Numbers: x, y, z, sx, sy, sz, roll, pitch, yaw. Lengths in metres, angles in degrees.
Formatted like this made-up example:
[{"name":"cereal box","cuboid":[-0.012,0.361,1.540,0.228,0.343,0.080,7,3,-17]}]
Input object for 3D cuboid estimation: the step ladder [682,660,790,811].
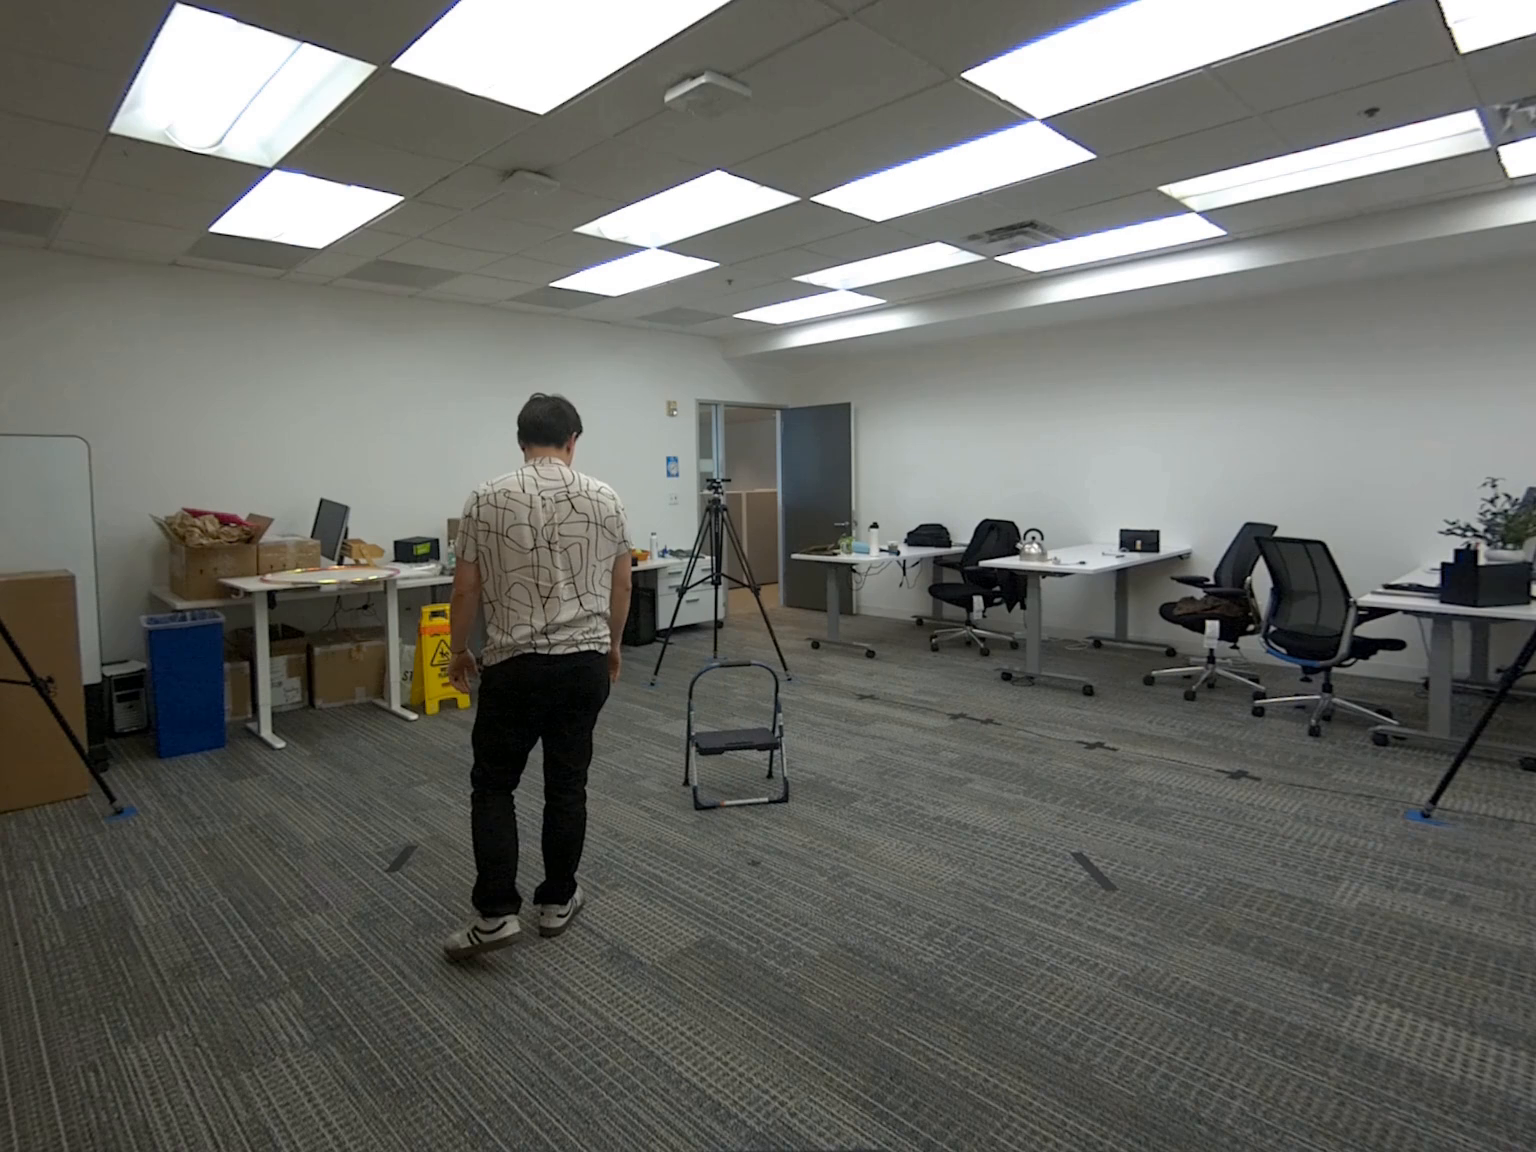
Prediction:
[{"name":"step ladder","cuboid":[-0.157,0.667,3.795,0.426,0.604,0.354,-2,4,-12]}]
